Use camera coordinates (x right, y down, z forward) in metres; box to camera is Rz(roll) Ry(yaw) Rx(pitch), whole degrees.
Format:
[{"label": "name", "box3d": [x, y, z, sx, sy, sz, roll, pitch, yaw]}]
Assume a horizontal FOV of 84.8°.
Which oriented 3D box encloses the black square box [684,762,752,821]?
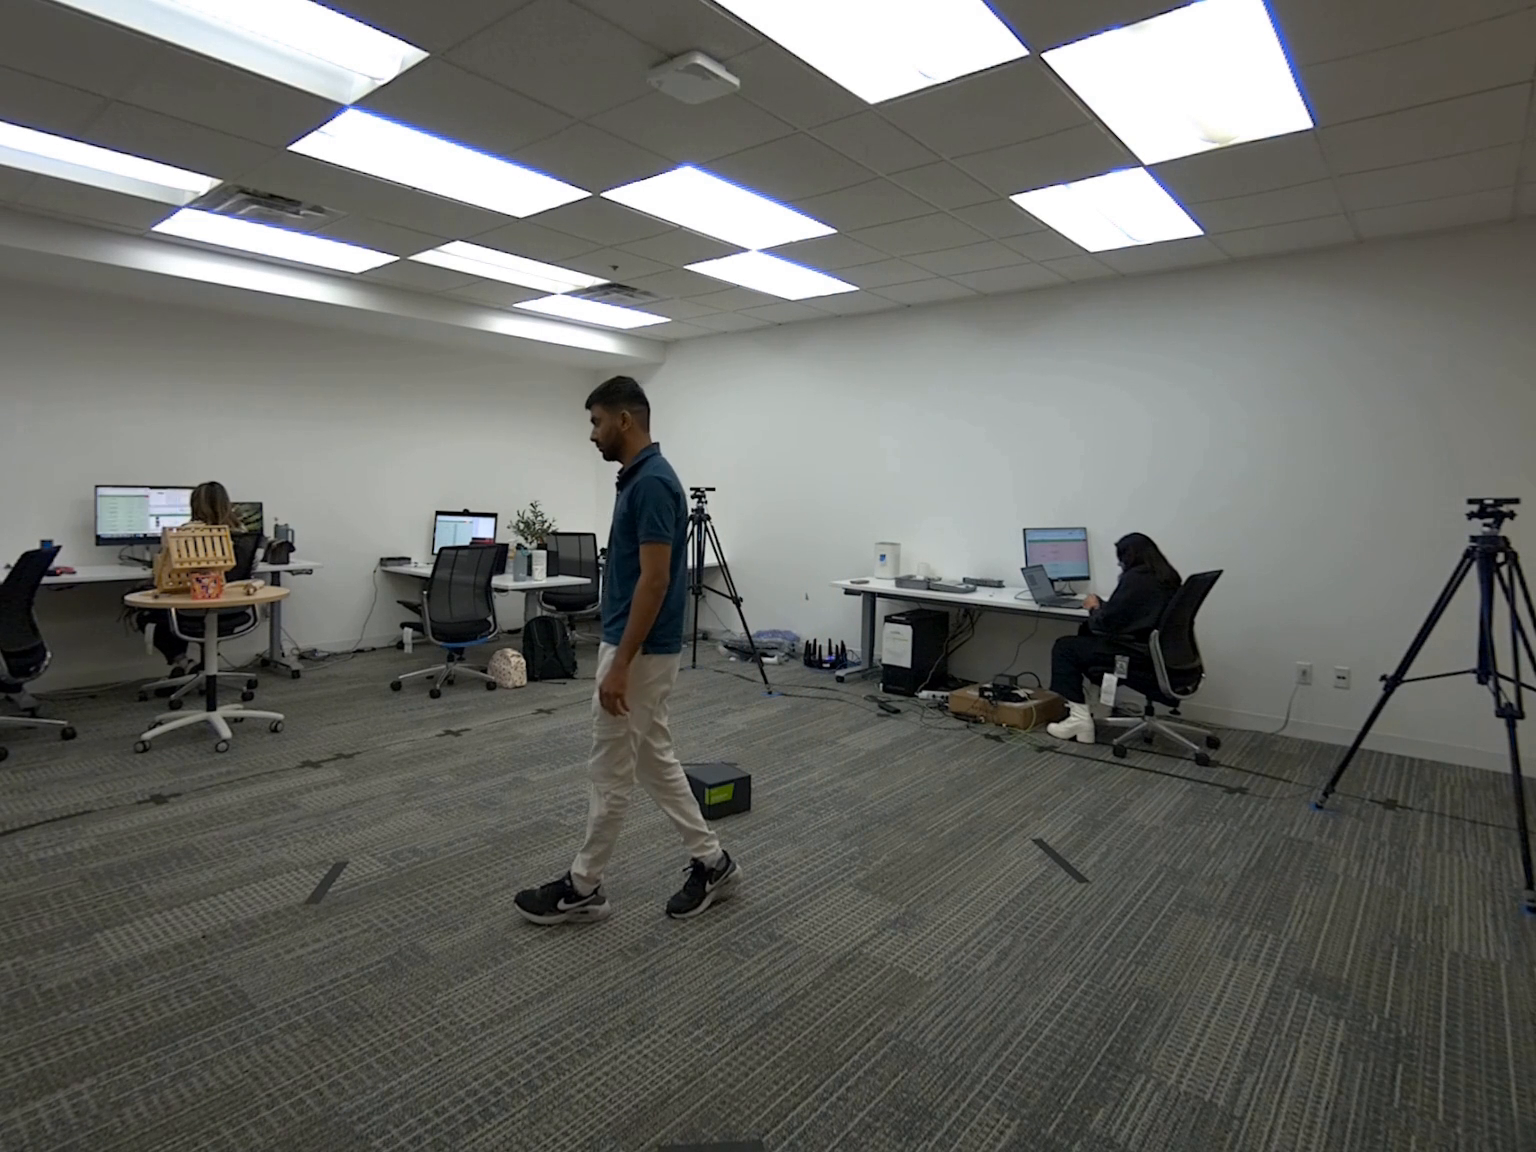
[{"label": "black square box", "box3d": [-0.236, 0.924, 3.701, 0.221, 0.155, 0.224, -3, 7, -39]}]
